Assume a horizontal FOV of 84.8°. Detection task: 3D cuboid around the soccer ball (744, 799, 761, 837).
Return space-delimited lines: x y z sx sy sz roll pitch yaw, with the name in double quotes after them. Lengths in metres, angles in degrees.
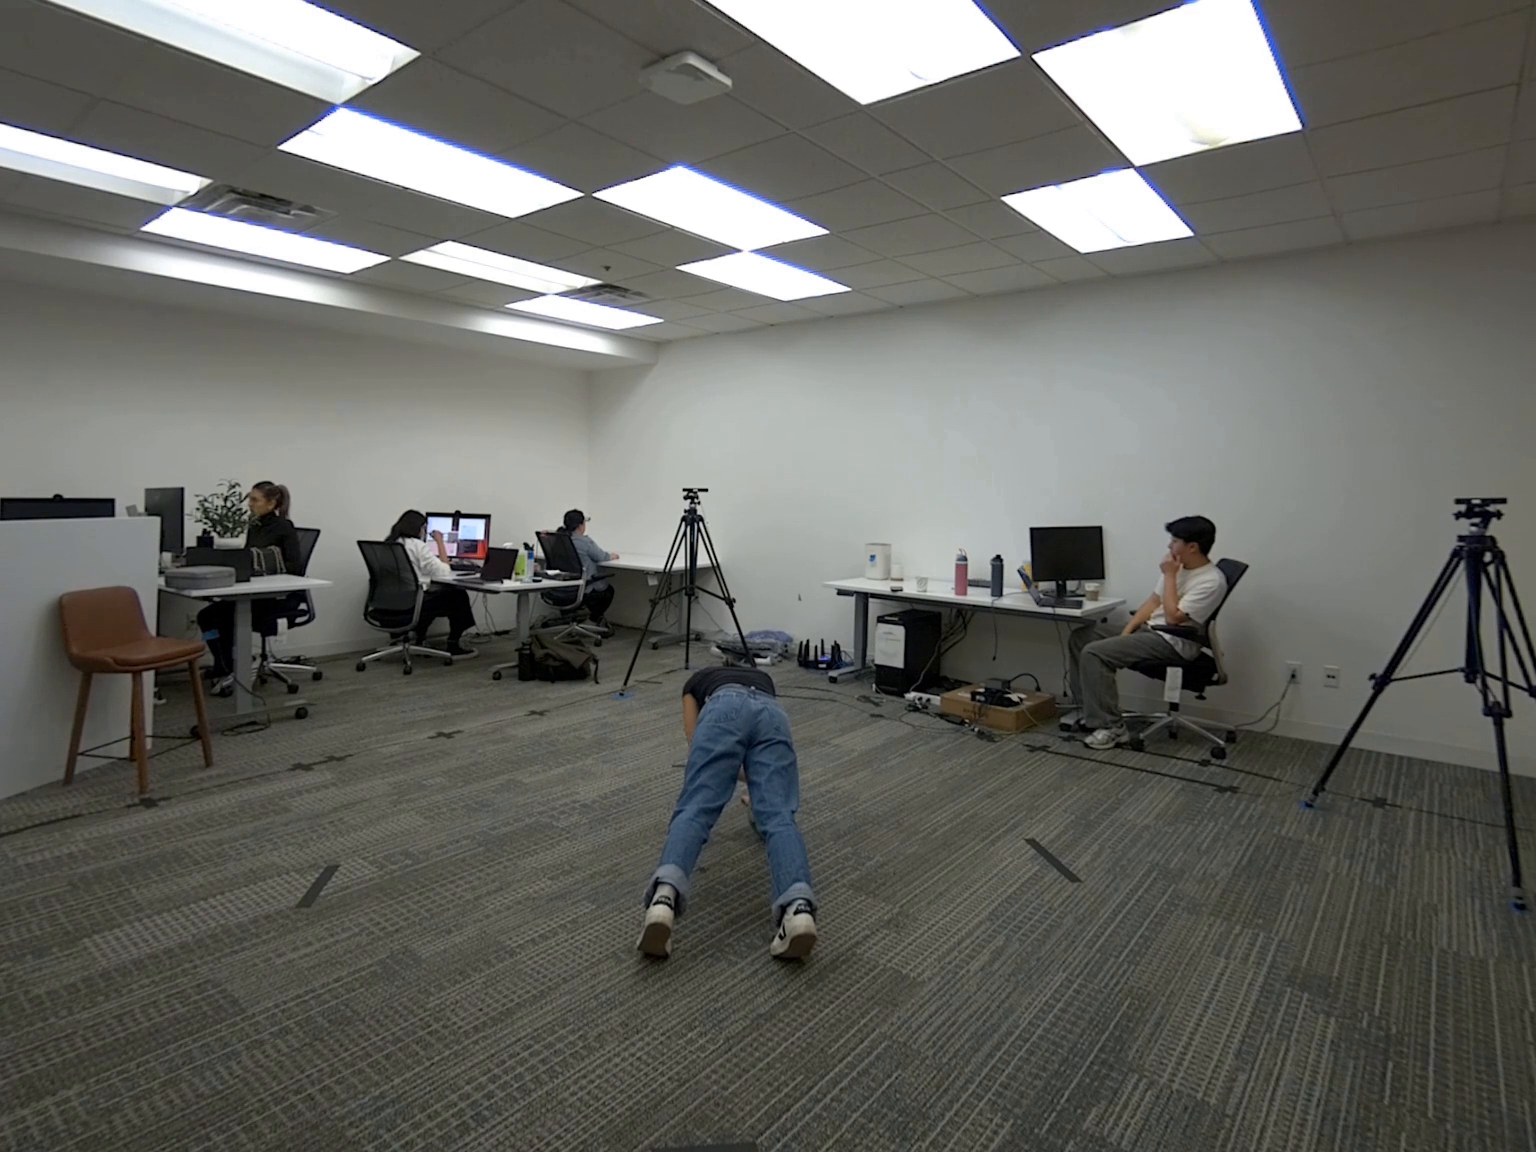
0.015 0.935 3.399 0.187 0.187 0.188 1 4 -2 "soccer ball"
